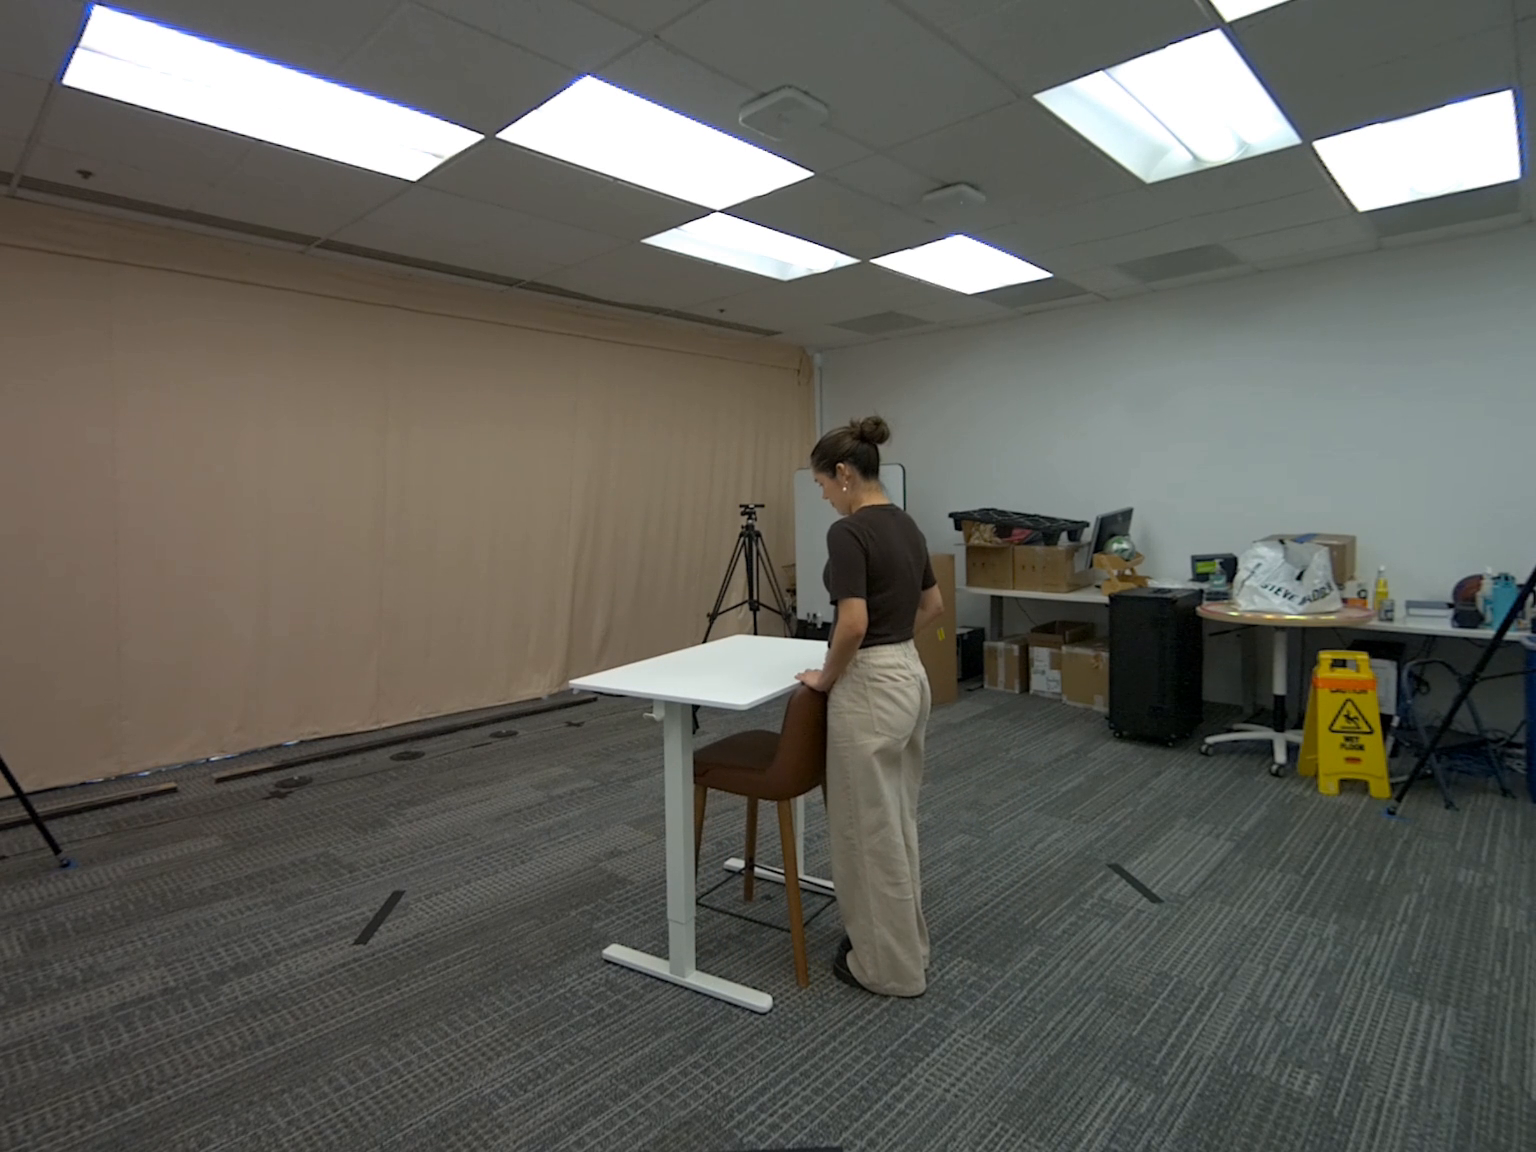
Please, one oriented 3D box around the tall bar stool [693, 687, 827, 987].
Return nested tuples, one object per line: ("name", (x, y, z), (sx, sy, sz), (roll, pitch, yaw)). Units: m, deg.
("tall bar stool", (0.014, 0.732, 2.666), (0.482, 0.887, 0.444), (3, 5, 33))
